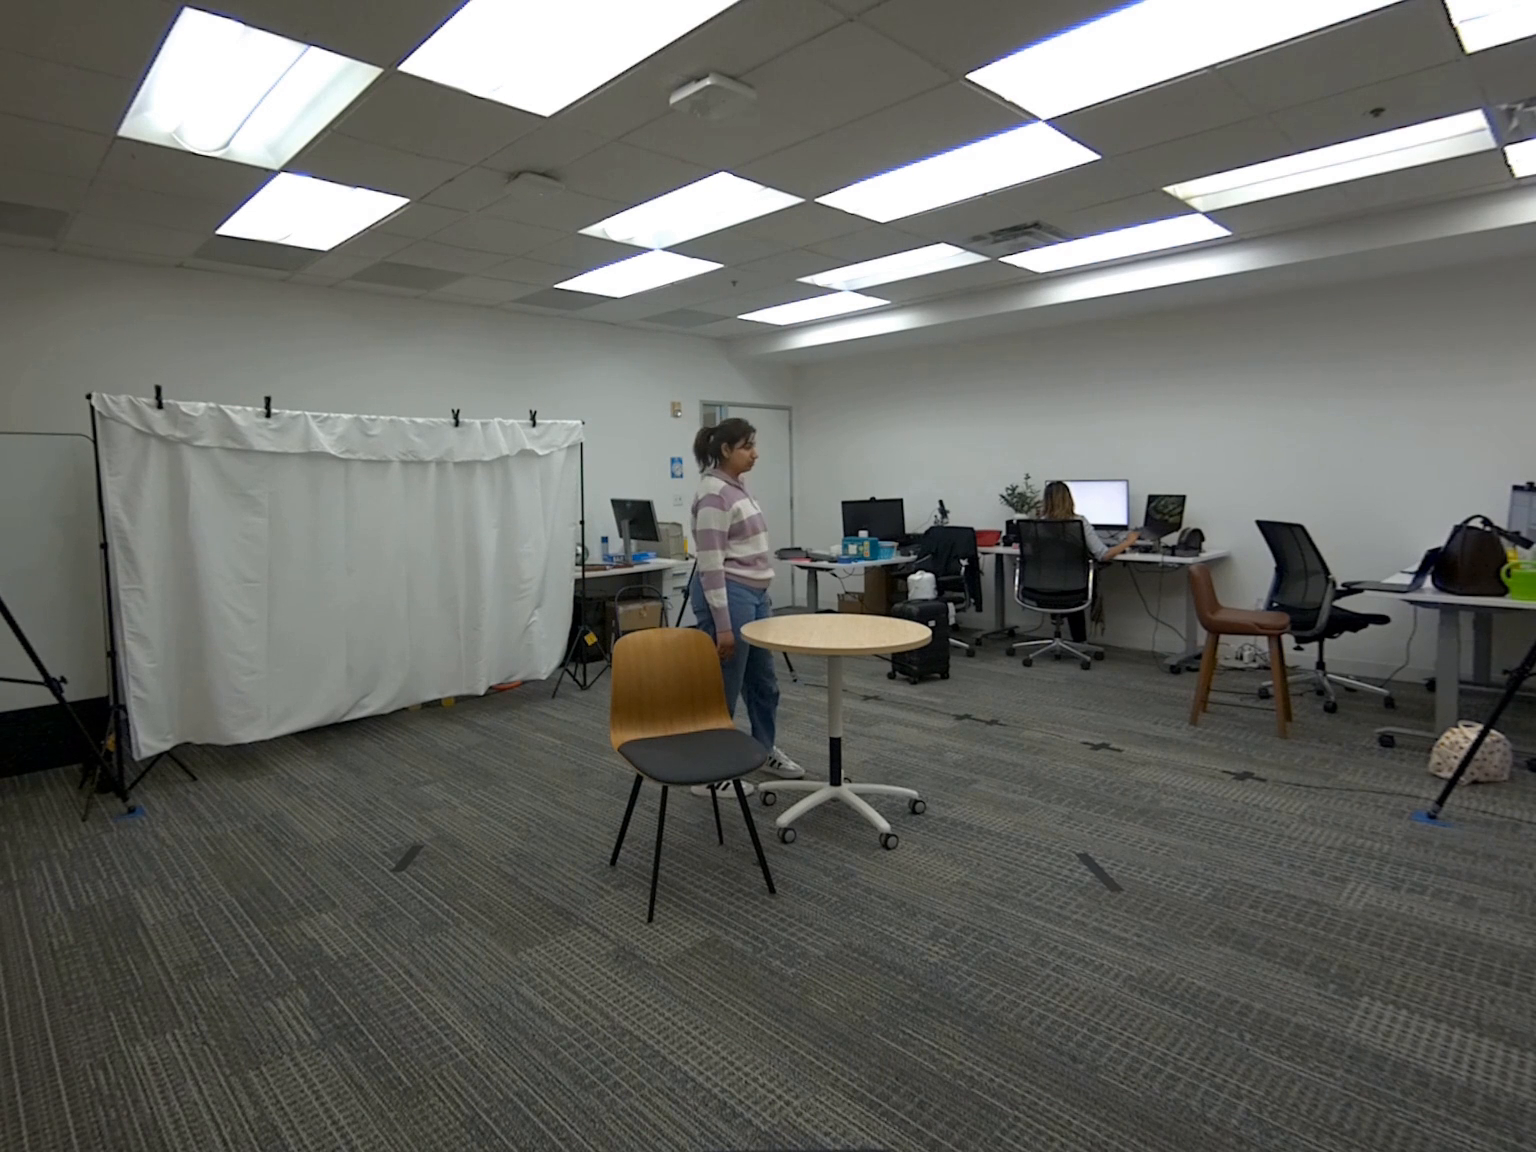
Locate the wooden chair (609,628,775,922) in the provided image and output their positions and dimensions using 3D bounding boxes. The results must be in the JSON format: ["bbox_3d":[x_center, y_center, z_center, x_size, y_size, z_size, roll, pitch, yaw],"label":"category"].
[{"bbox_3d":[-0.280,0.646,2.956,0.468,0.877,0.534,-3,1,-26],"label":"wooden chair"}]
